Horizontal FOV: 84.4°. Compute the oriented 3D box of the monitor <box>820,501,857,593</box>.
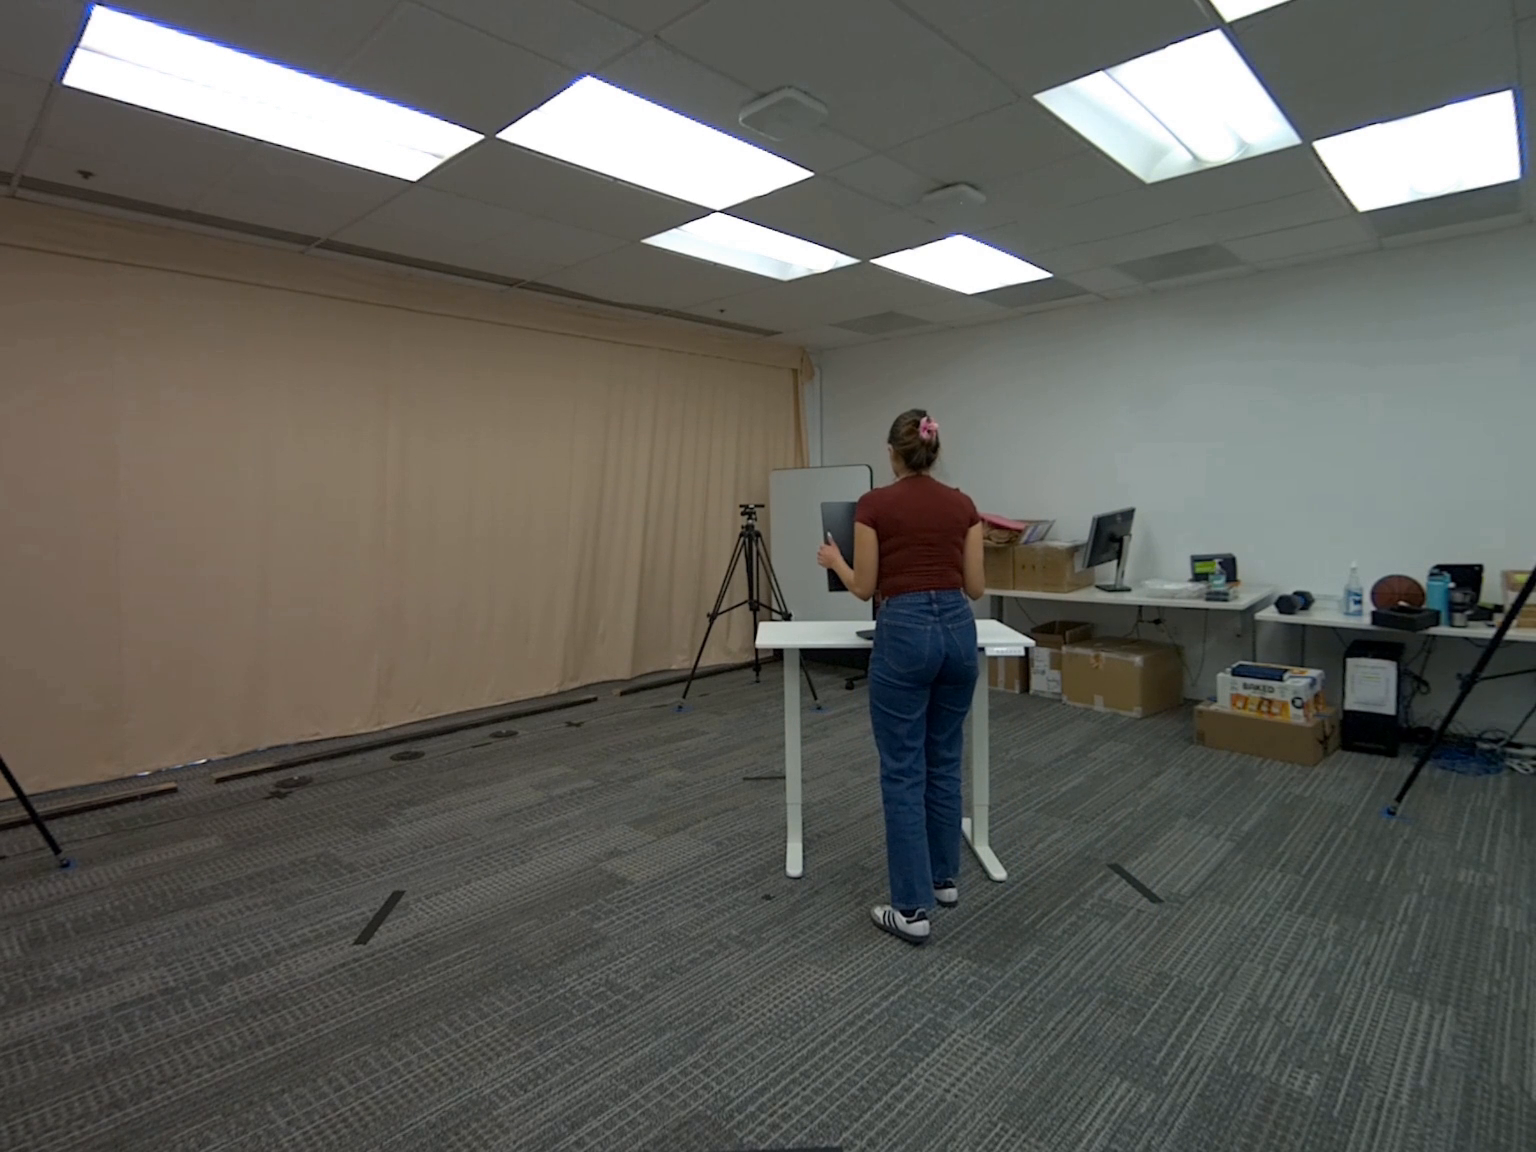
[{"bbox_3d":[0.487,-0.025,3.224,0.535,0.523,0.188,-1,-1,-6],"label":"monitor"}]
